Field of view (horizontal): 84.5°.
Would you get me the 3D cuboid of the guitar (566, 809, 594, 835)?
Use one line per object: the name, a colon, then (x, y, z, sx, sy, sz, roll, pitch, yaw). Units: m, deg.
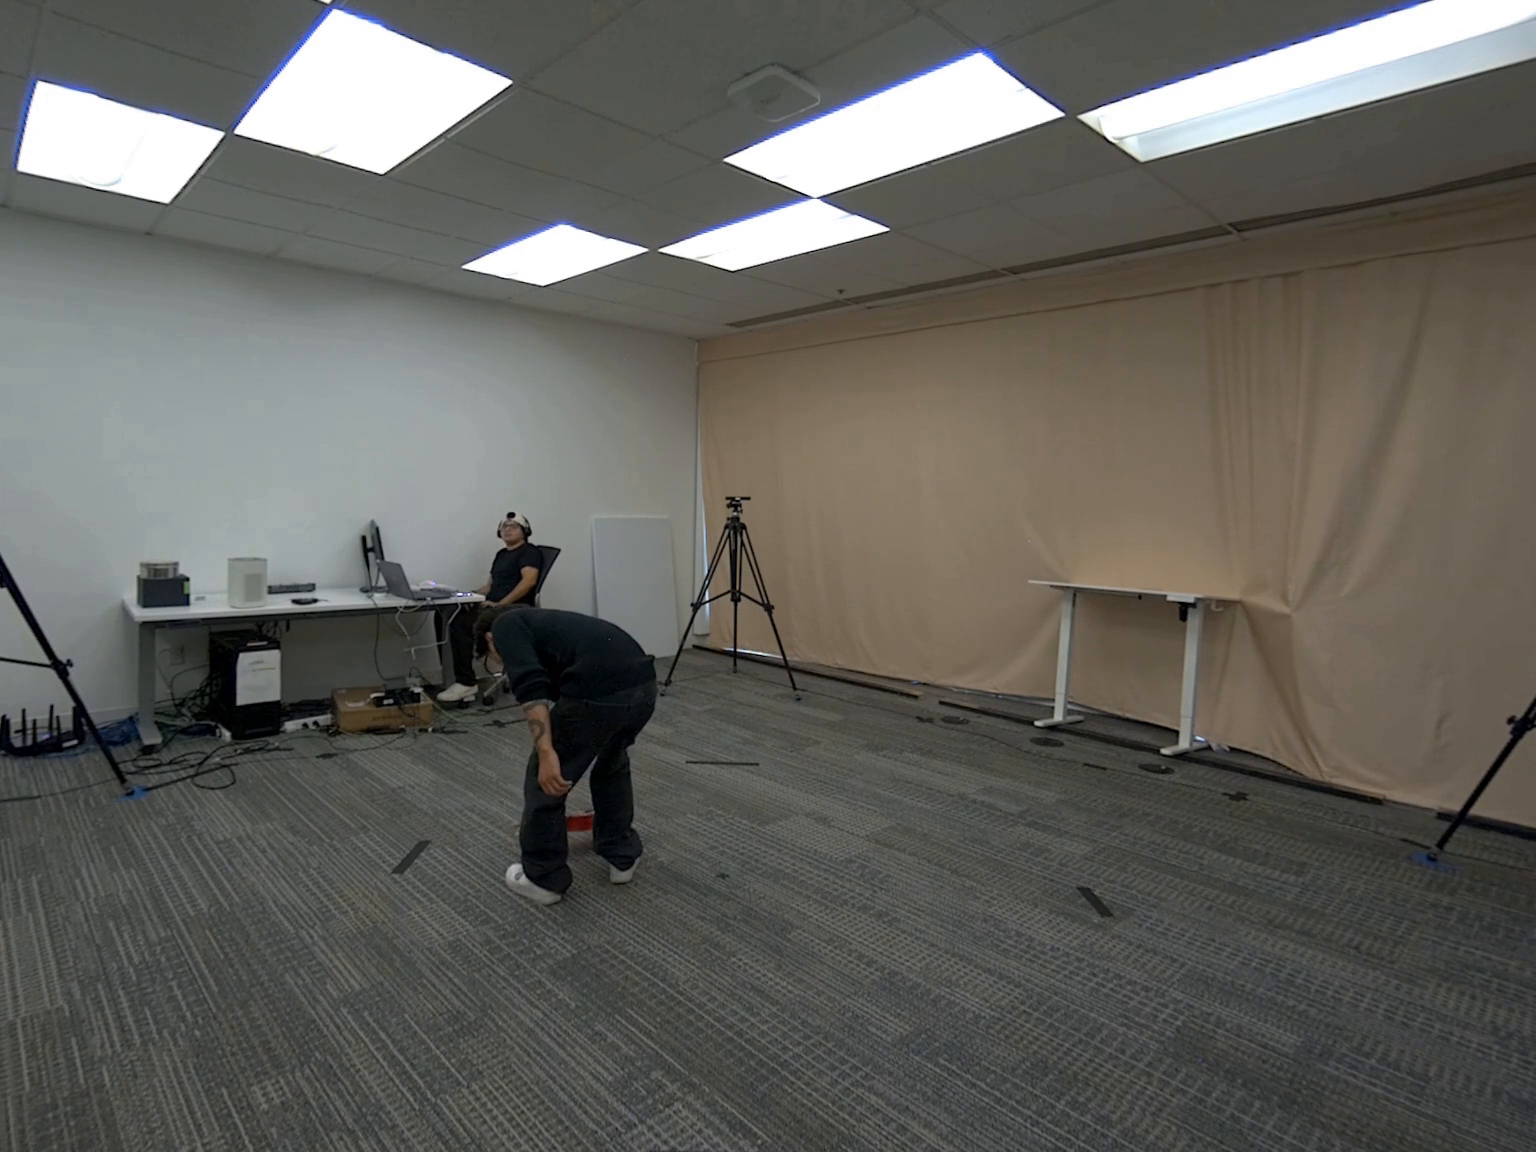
guitar: (-0.791, 0.973, 3.326, 0.489, 0.071, 0.195, -1, -6, -26)
